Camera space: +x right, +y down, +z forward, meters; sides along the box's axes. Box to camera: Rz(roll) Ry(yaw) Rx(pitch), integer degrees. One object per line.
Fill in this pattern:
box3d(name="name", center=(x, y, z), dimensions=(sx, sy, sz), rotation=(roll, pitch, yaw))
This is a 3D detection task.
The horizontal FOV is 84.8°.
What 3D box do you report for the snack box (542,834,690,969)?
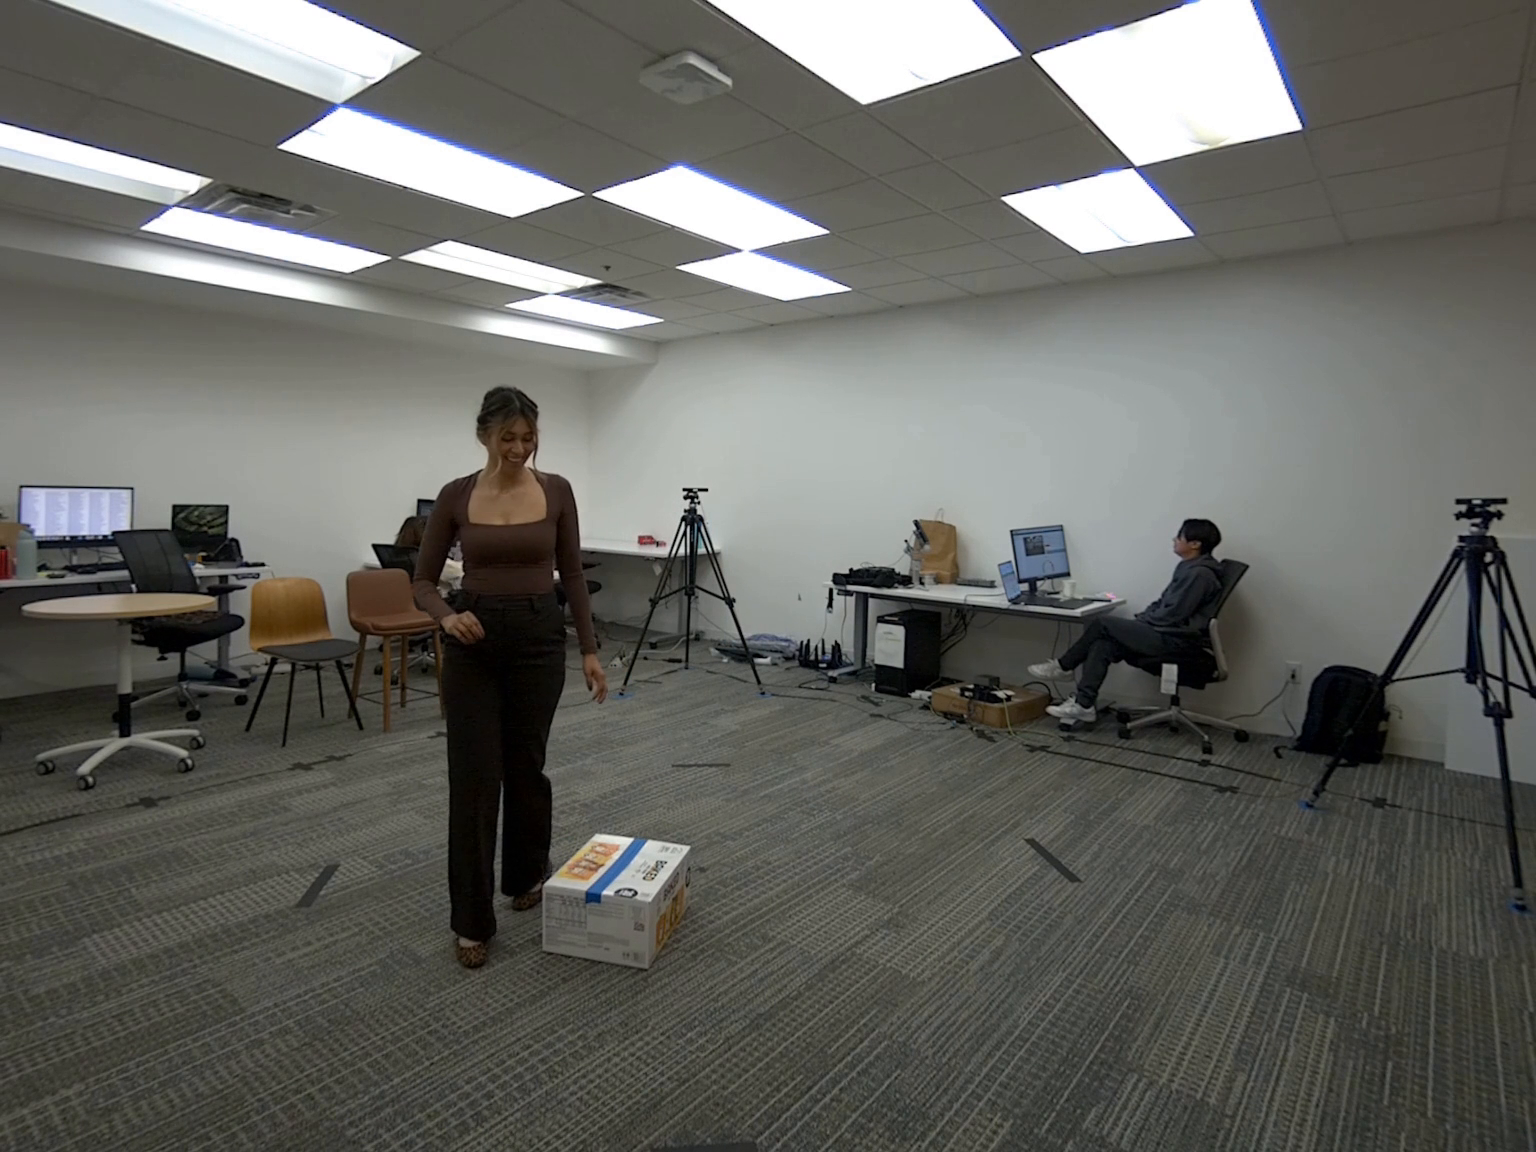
box3d(name="snack box", center=(-0.475, 1.009, 2.665), dimensions=(0.346, 0.205, 0.400), rotation=(2, 5, 14))
